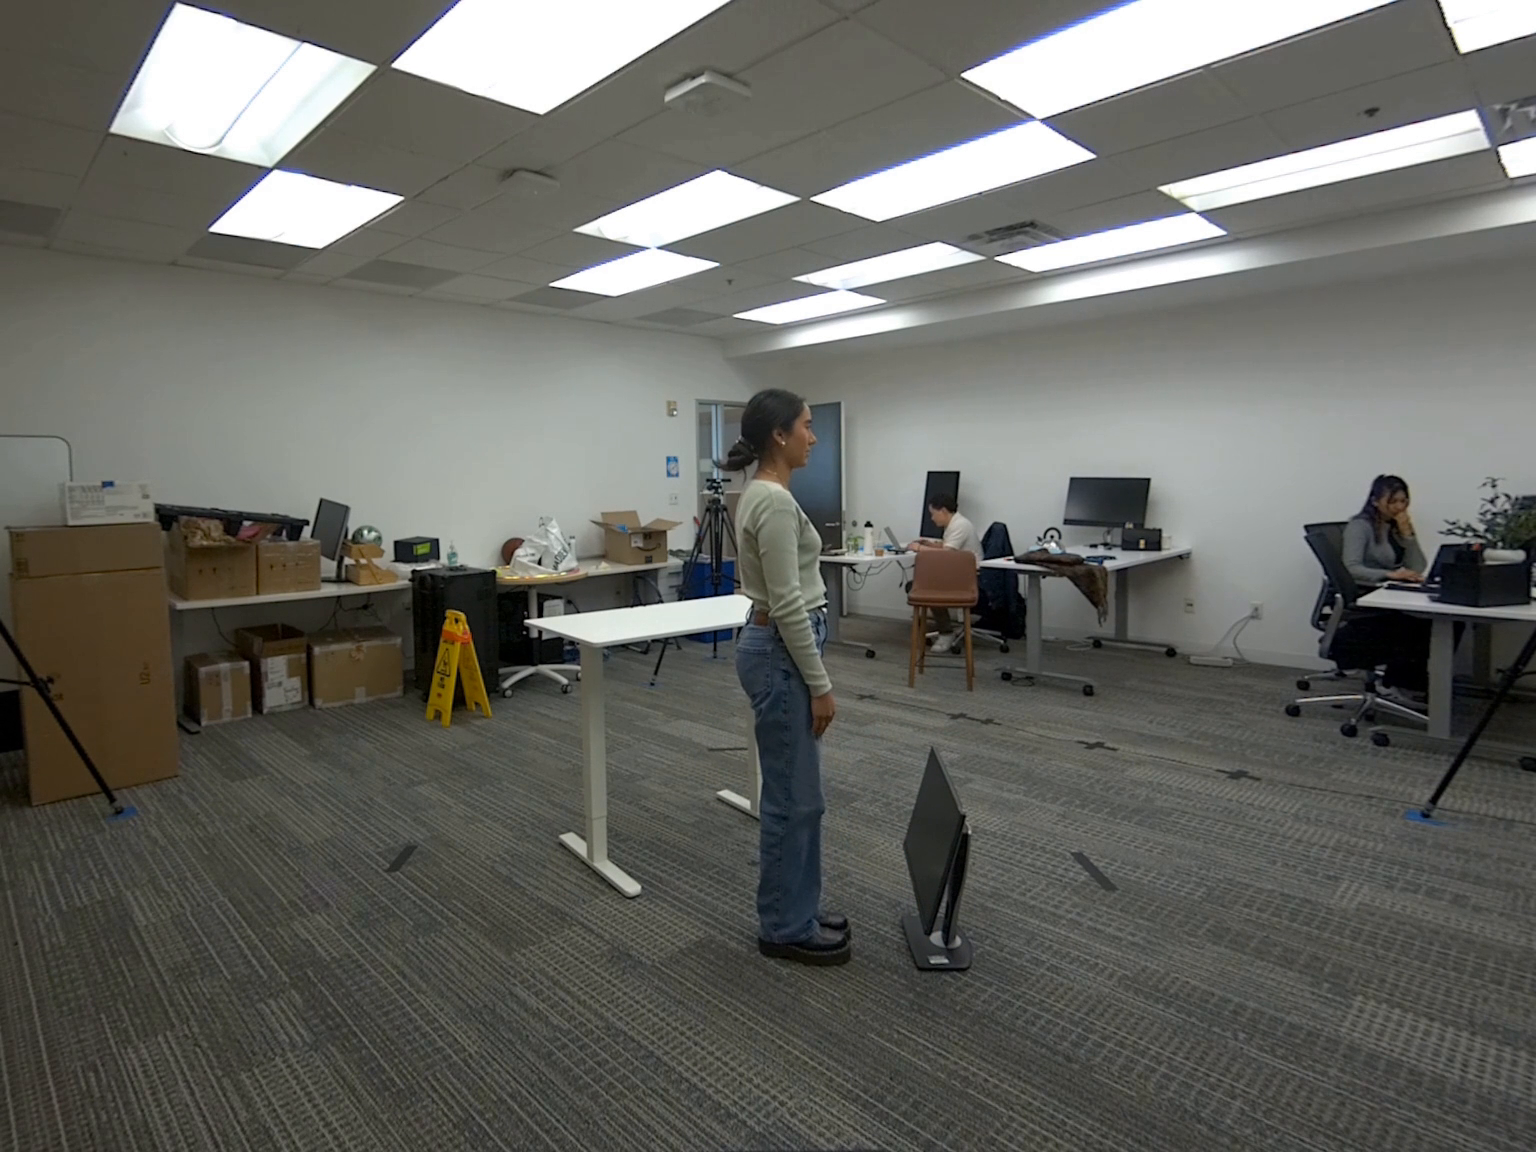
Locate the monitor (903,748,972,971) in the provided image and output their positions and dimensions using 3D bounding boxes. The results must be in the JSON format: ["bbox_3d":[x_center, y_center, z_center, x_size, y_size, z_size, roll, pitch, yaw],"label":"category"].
[{"bbox_3d":[0.504,0.844,2.524,0.187,0.520,0.541,0,7,0],"label":"monitor"}]
